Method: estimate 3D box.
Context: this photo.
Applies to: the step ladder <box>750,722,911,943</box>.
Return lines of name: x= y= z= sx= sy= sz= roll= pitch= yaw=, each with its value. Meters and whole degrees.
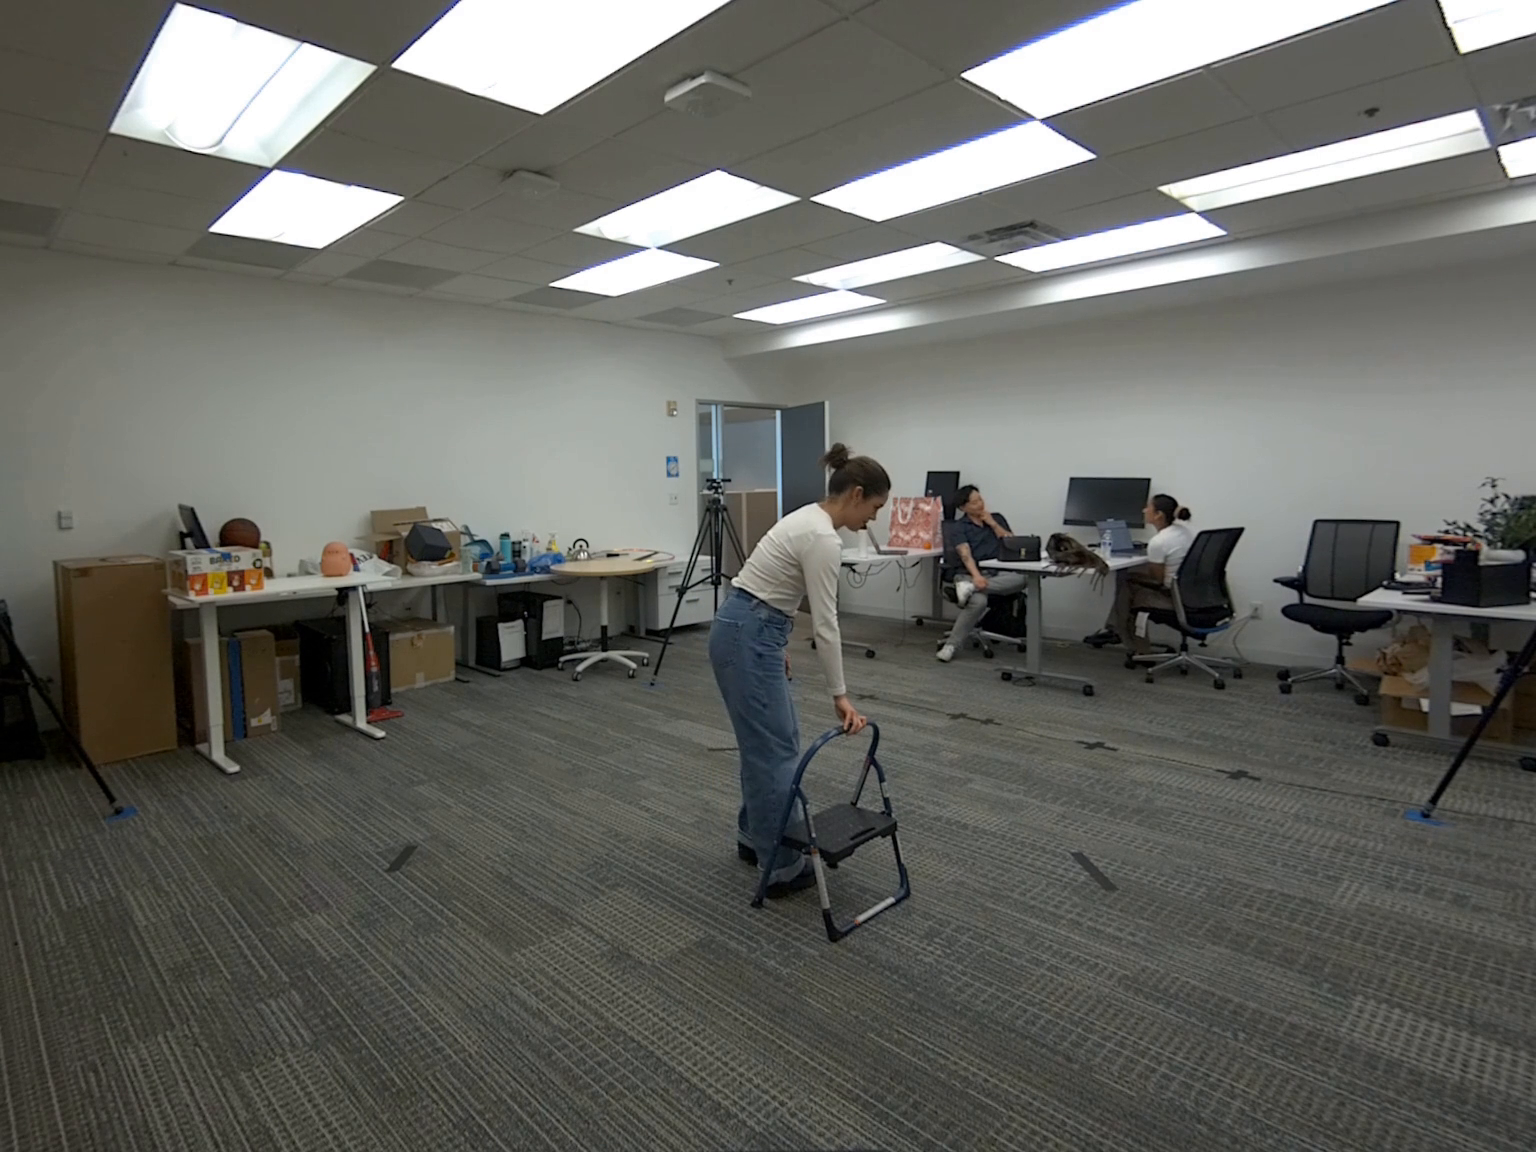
step ladder: x=0.208 y=0.770 z=2.804 sx=0.360 sy=0.604 sz=0.419 roll=2 pitch=5 yaw=44
